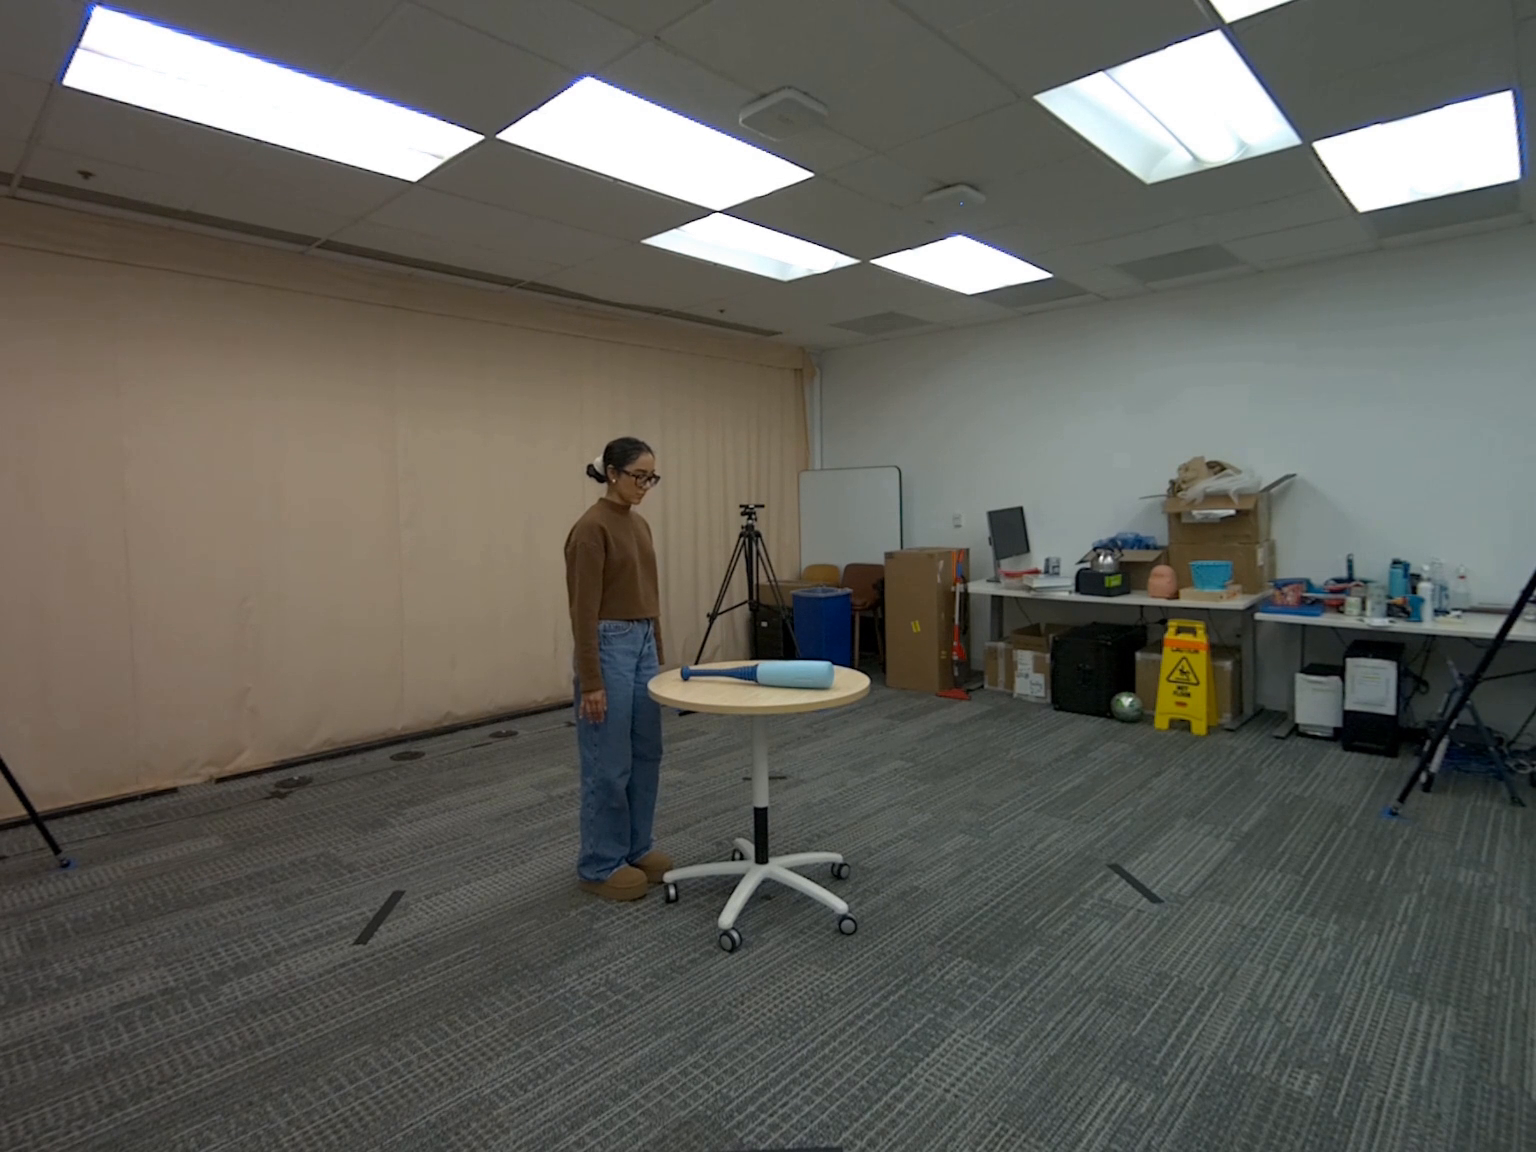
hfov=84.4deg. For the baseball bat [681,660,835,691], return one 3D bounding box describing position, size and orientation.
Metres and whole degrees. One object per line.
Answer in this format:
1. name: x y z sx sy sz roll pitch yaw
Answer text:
1. baseball bat: -0.044 0.335 2.844 0.554 0.089 0.087 -3 3 21
